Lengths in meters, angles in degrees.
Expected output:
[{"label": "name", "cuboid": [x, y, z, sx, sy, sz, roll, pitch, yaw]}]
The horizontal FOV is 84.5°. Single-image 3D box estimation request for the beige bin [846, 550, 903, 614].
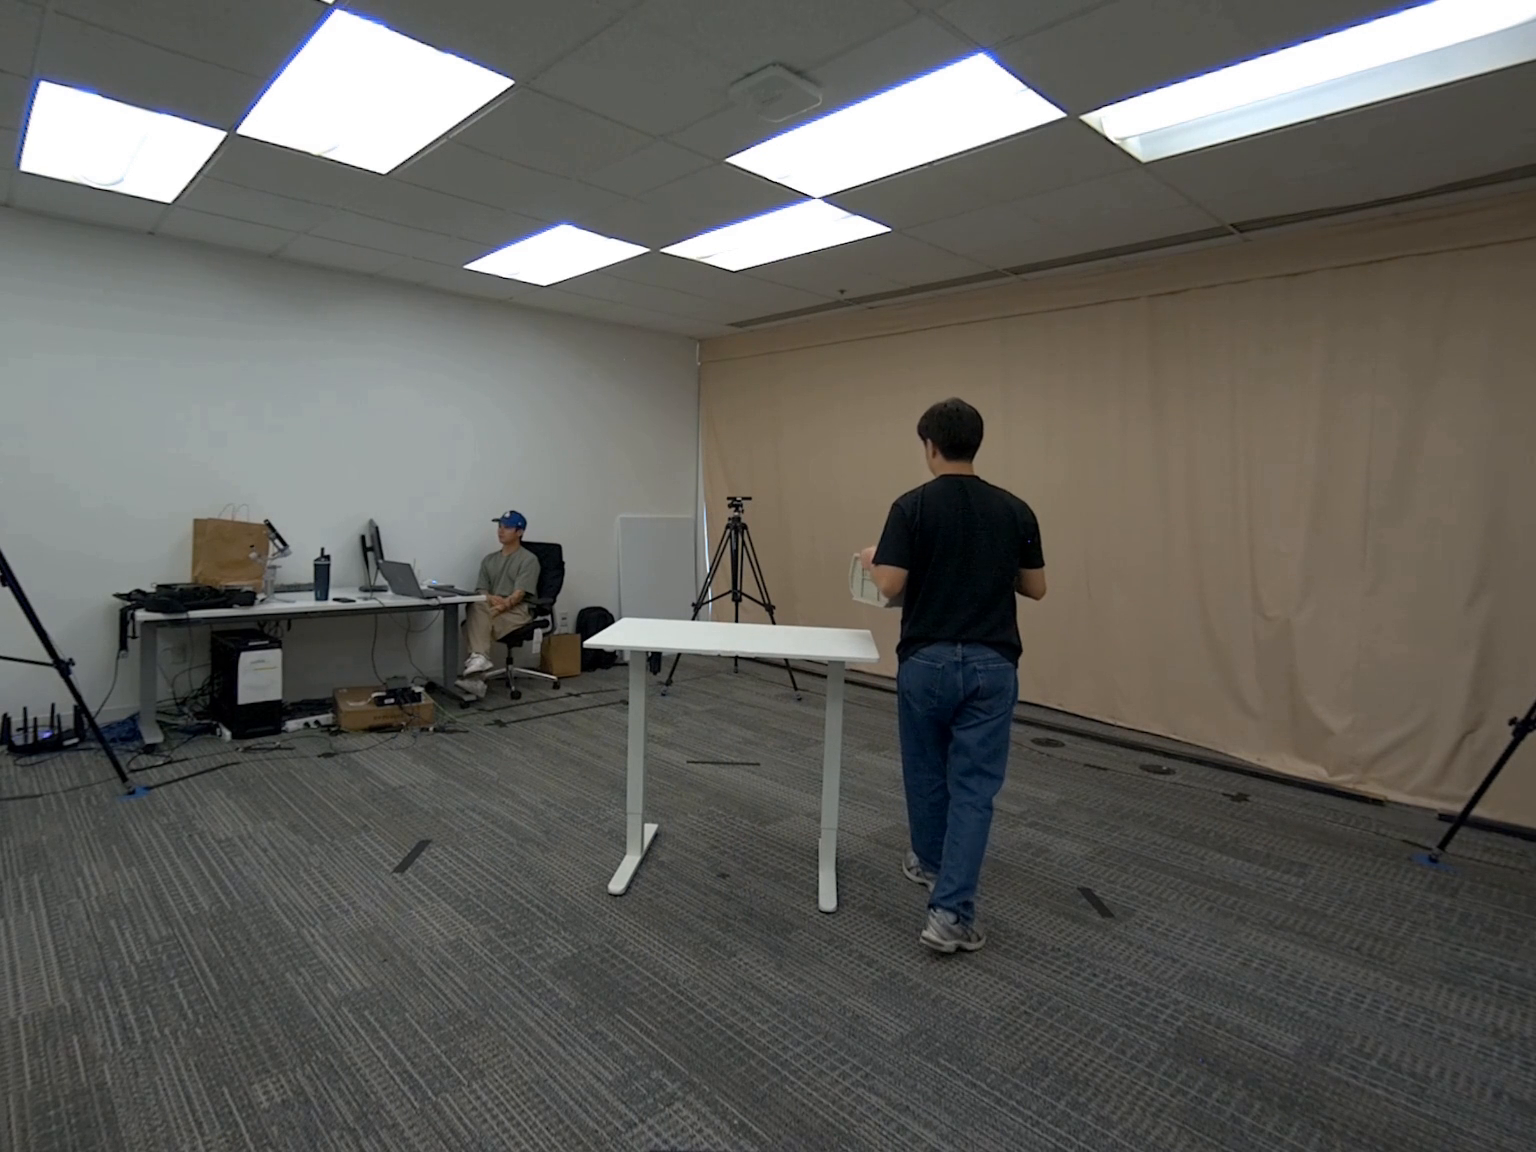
[{"label": "beige bin", "cuboid": [0.567, 0.030, 3.158, 0.418, 0.188, 0.382, 5, 3, -13]}]
